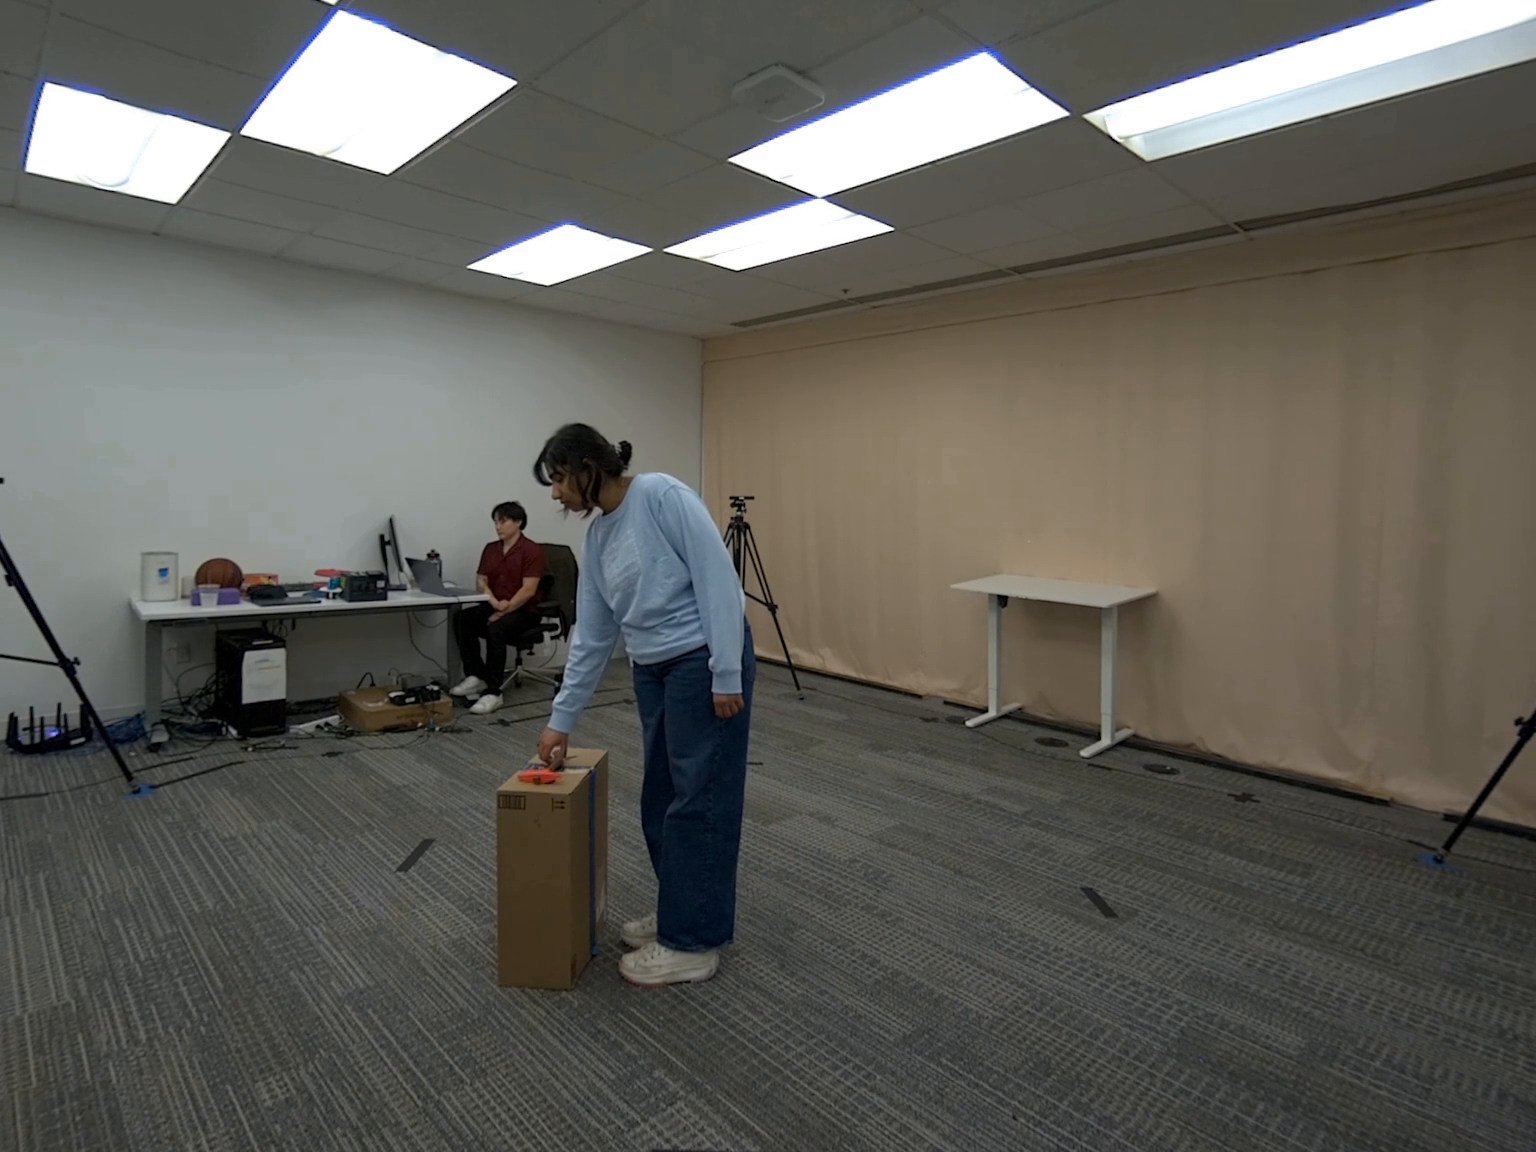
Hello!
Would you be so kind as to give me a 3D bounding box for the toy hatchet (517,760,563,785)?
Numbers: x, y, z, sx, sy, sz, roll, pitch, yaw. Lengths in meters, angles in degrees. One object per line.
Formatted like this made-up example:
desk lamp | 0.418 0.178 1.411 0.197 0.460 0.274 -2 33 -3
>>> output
toy hatchet | -0.673 0.570 2.516 0.130 0.029 0.273 -6 4 -11
